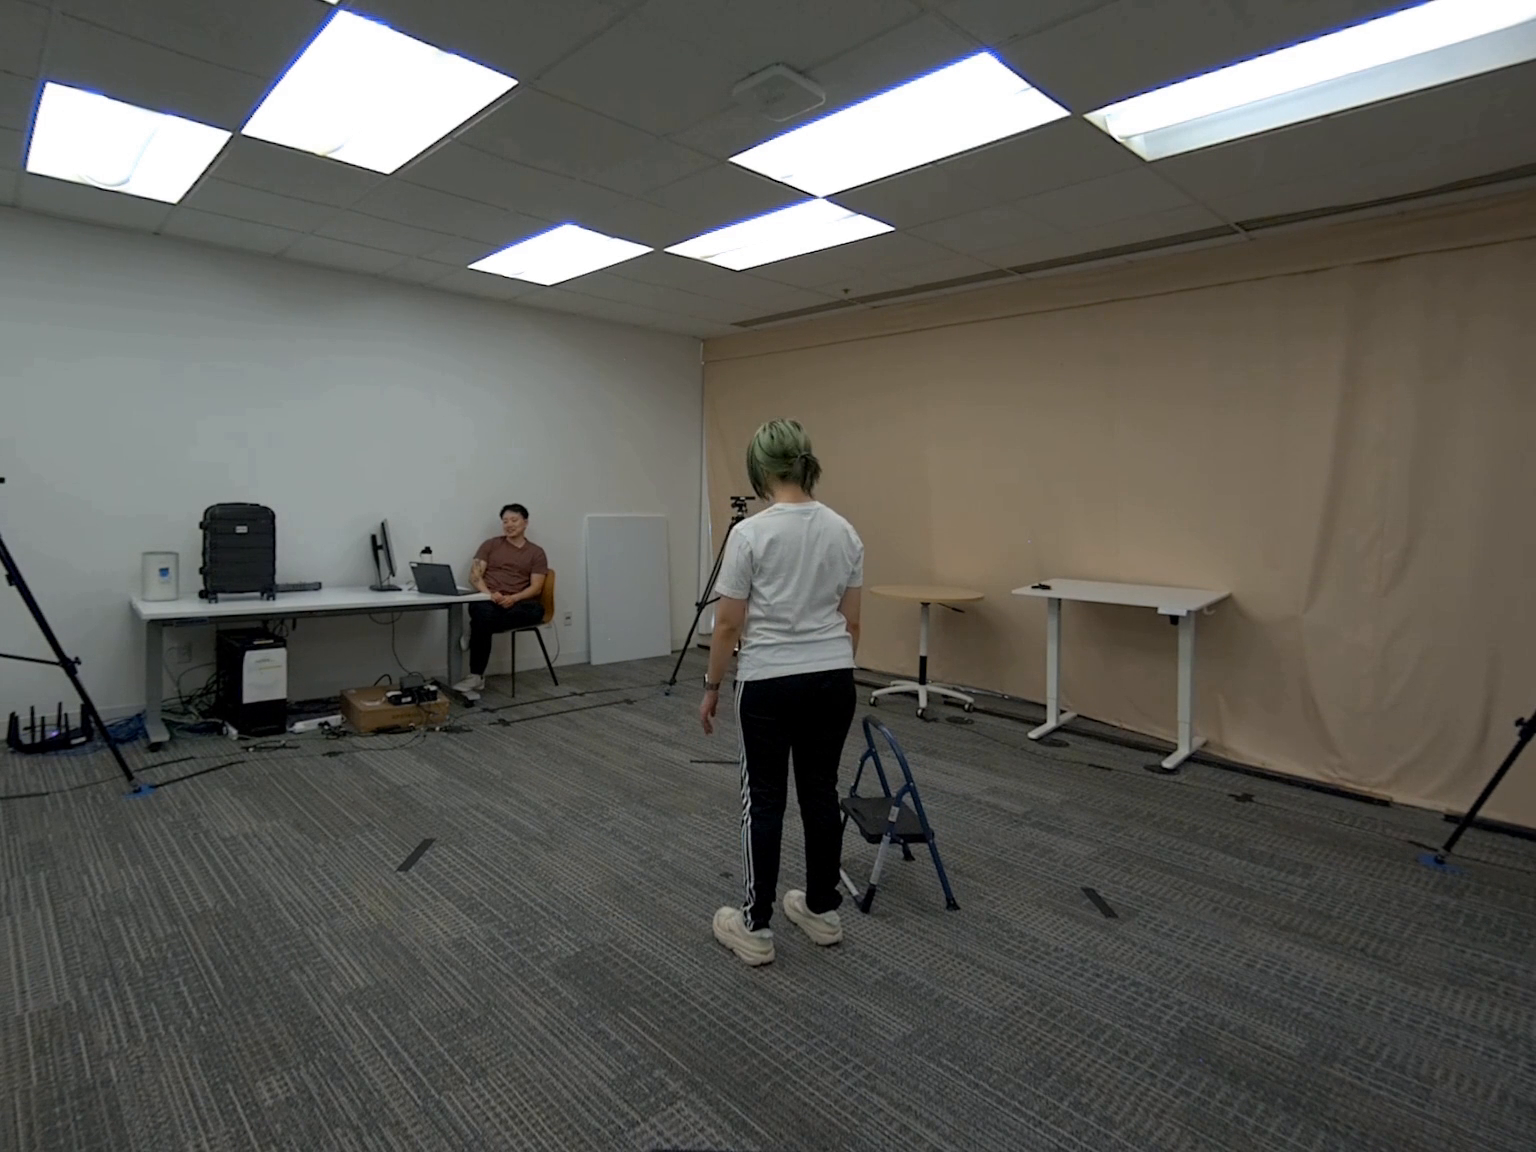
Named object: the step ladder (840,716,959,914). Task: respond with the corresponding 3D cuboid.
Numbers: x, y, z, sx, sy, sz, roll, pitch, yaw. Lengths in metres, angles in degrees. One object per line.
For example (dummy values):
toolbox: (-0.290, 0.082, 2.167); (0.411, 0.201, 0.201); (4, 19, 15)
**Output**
step ladder: (0.446, 0.824, 3.048); (0.346, 0.604, 0.436); (1, 4, -12)
